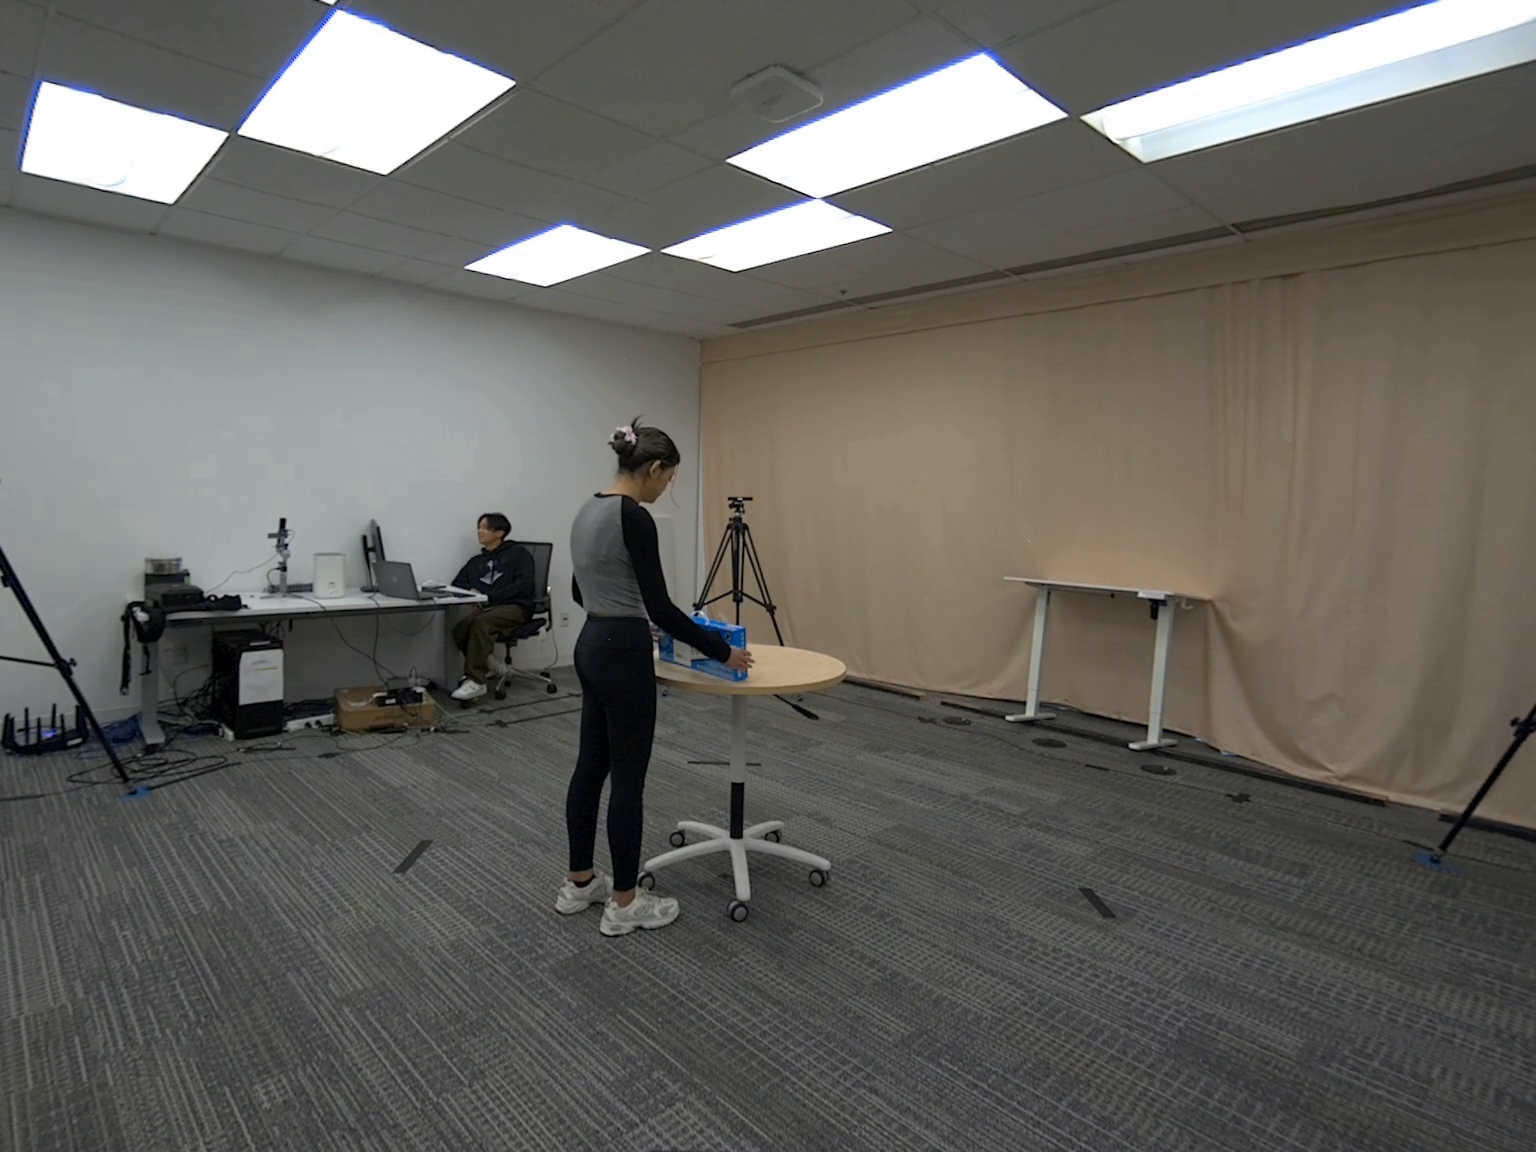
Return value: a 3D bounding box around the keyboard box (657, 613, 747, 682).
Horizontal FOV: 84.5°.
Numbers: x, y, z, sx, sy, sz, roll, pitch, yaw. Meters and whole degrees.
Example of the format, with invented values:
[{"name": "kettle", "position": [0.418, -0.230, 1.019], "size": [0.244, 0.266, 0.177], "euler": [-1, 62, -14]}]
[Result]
[{"name": "keyboard box", "position": [-0.243, 0.240, 2.937], "size": [0.058, 0.175, 0.448], "euler": [-10, 11, -39]}]
